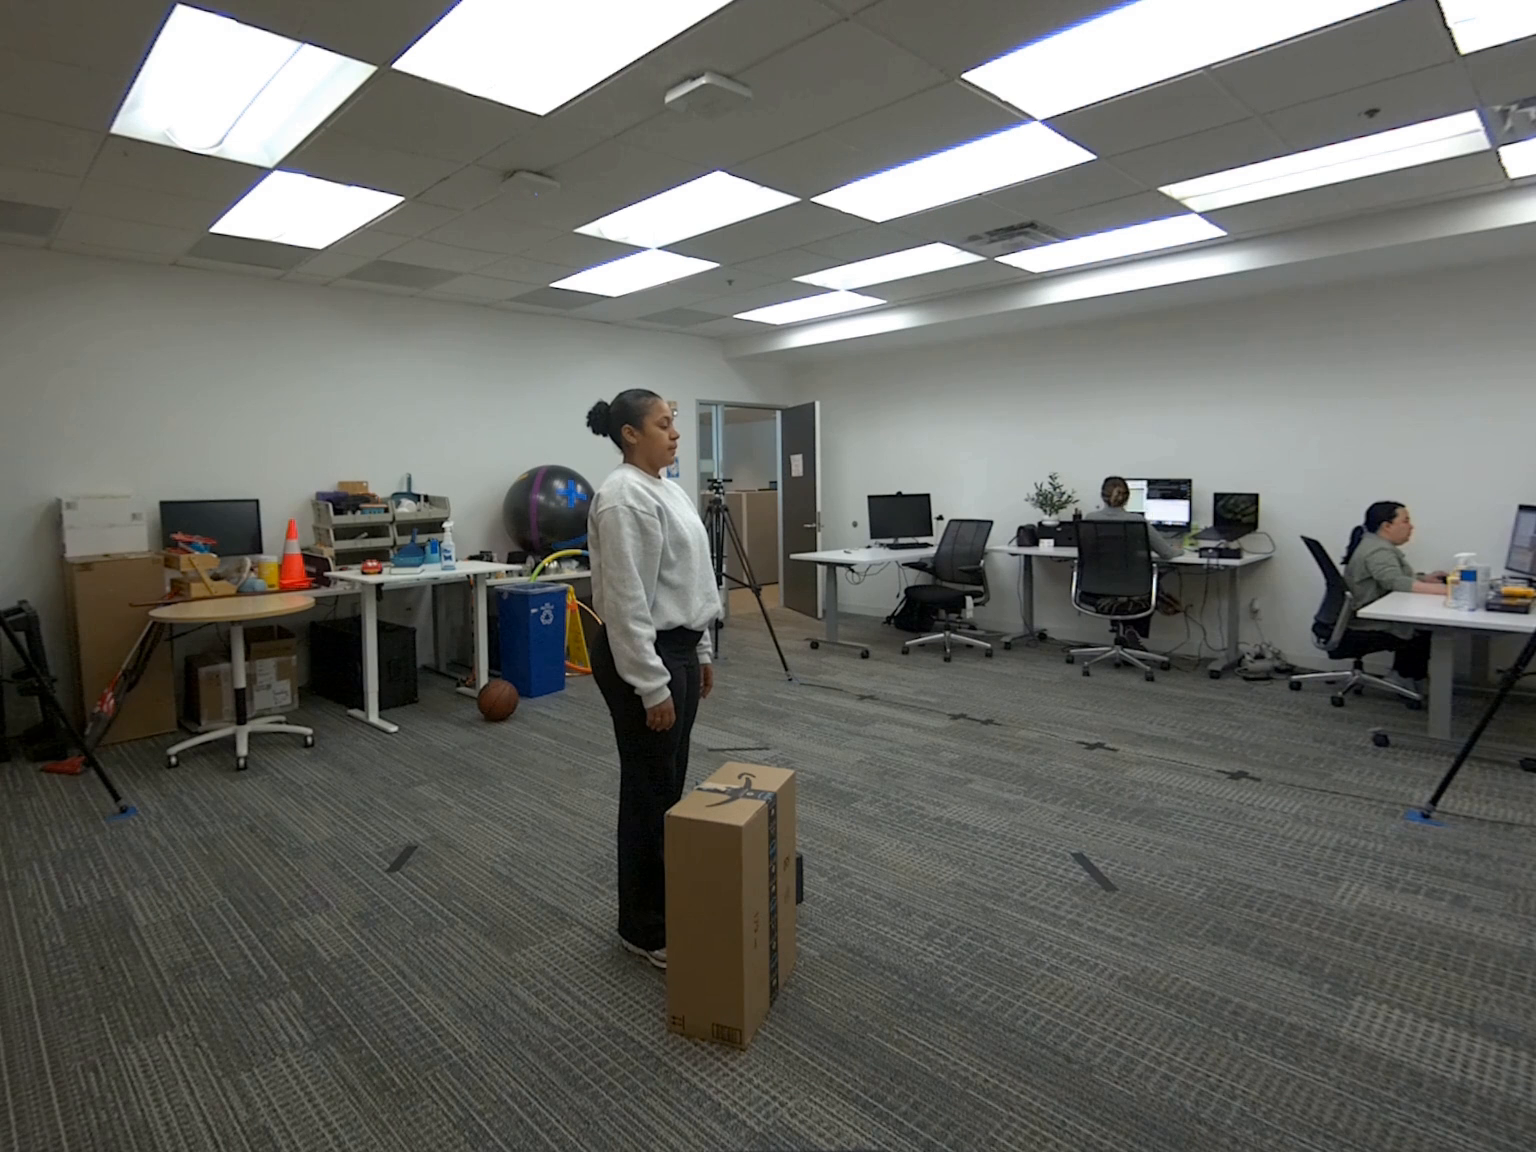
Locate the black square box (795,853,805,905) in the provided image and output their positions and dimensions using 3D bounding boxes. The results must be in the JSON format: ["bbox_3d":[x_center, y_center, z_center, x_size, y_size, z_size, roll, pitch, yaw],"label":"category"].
[{"bbox_3d":[-0.027,0.997,2.833,0.222,0.155,0.224,-6,8,-39],"label":"black square box"}]
